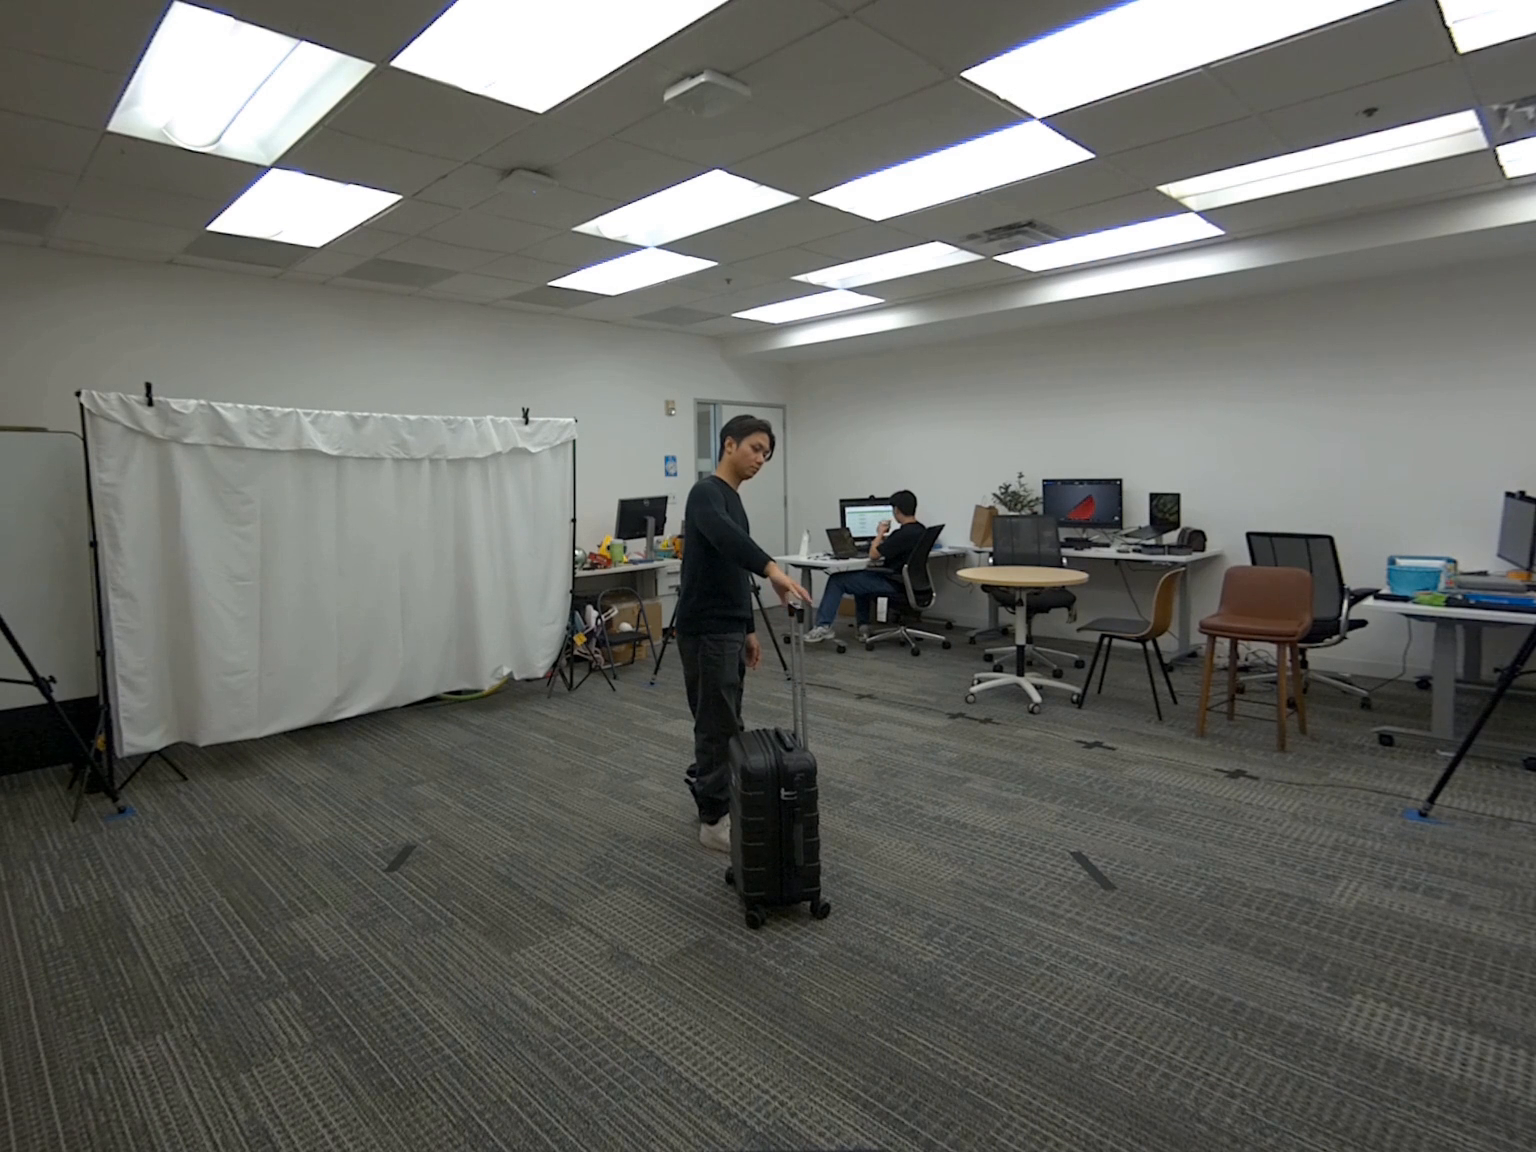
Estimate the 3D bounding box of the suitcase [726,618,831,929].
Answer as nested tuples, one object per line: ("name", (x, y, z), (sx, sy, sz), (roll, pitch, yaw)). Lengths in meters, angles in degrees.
("suitcase", (0.009, 0.601, 2.800), (0.255, 0.975, 0.388), (-4, 4, -9))
